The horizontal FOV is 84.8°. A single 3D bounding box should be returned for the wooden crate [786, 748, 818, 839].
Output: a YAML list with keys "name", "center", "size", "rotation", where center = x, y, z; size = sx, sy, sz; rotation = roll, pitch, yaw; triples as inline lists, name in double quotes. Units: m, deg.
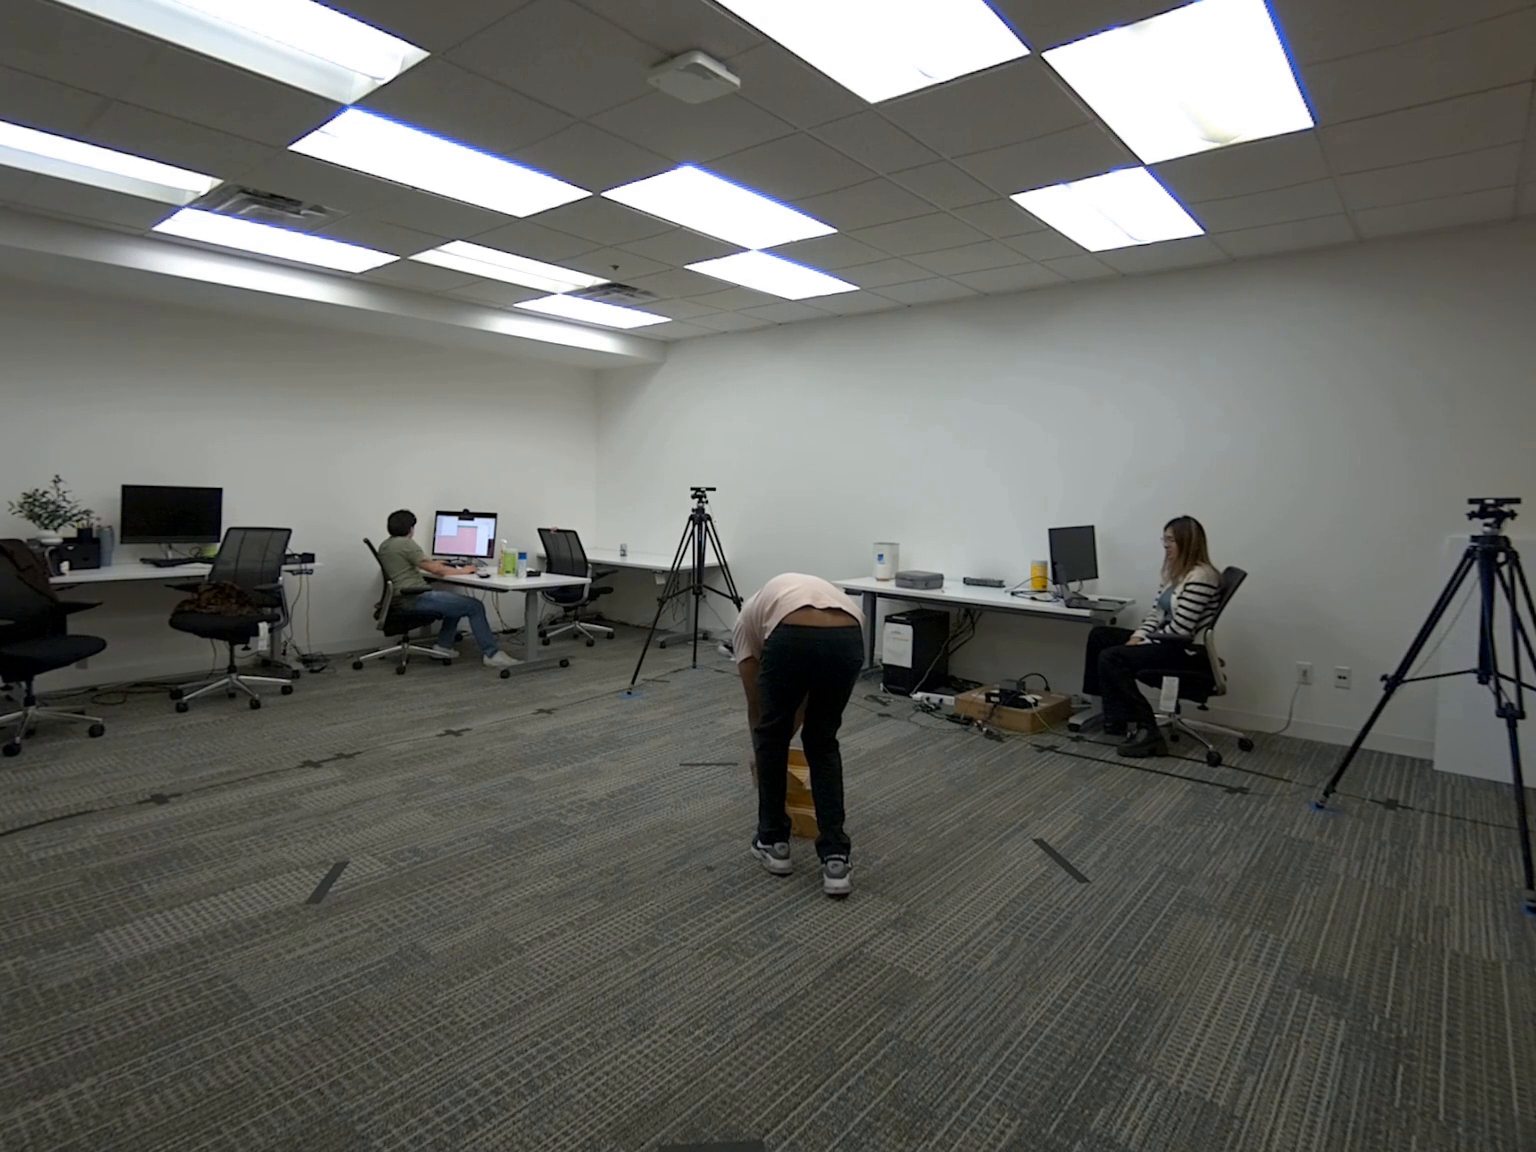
- name: "wooden crate"
  center: [0.116, 0.887, 3.564]
  size: [0.307, 0.272, 0.320]
  rotation: [2, 5, 15]
